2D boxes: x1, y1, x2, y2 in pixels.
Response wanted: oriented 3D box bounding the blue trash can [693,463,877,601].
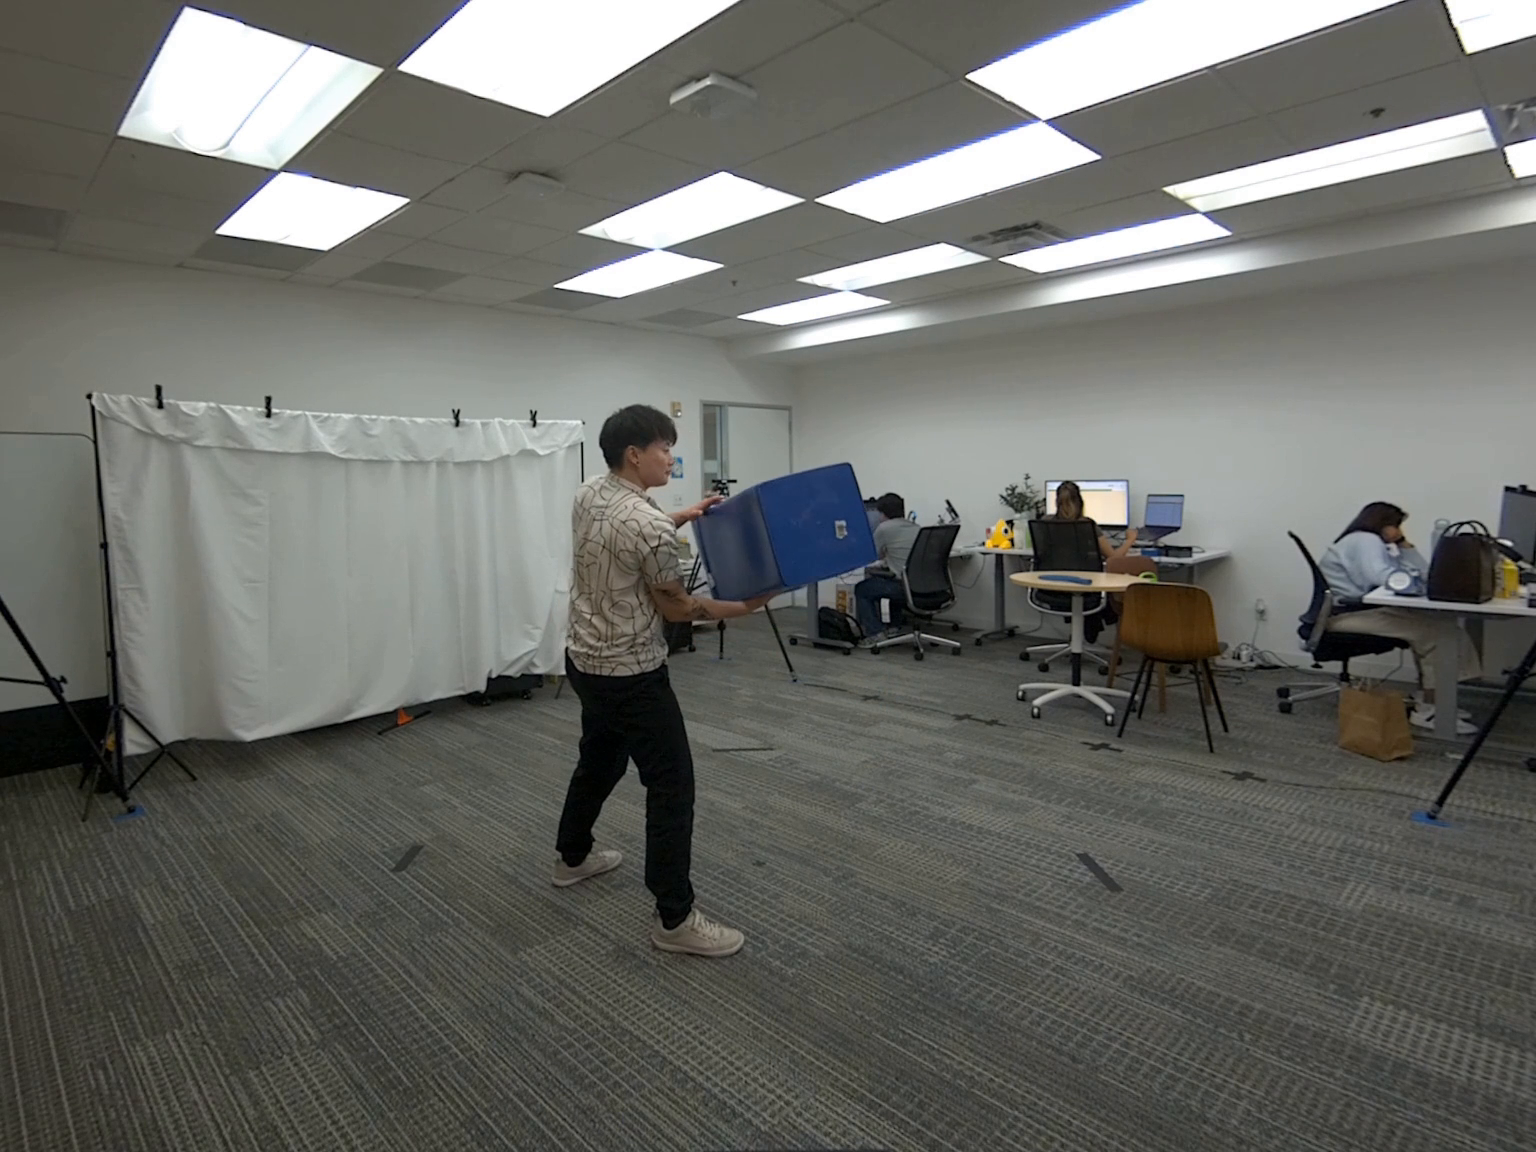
[{"bbox_3d":[0.040,-0.126,2.762,0.374,0.375,0.719,-15,-1,-17],"label":"blue trash can"}]
